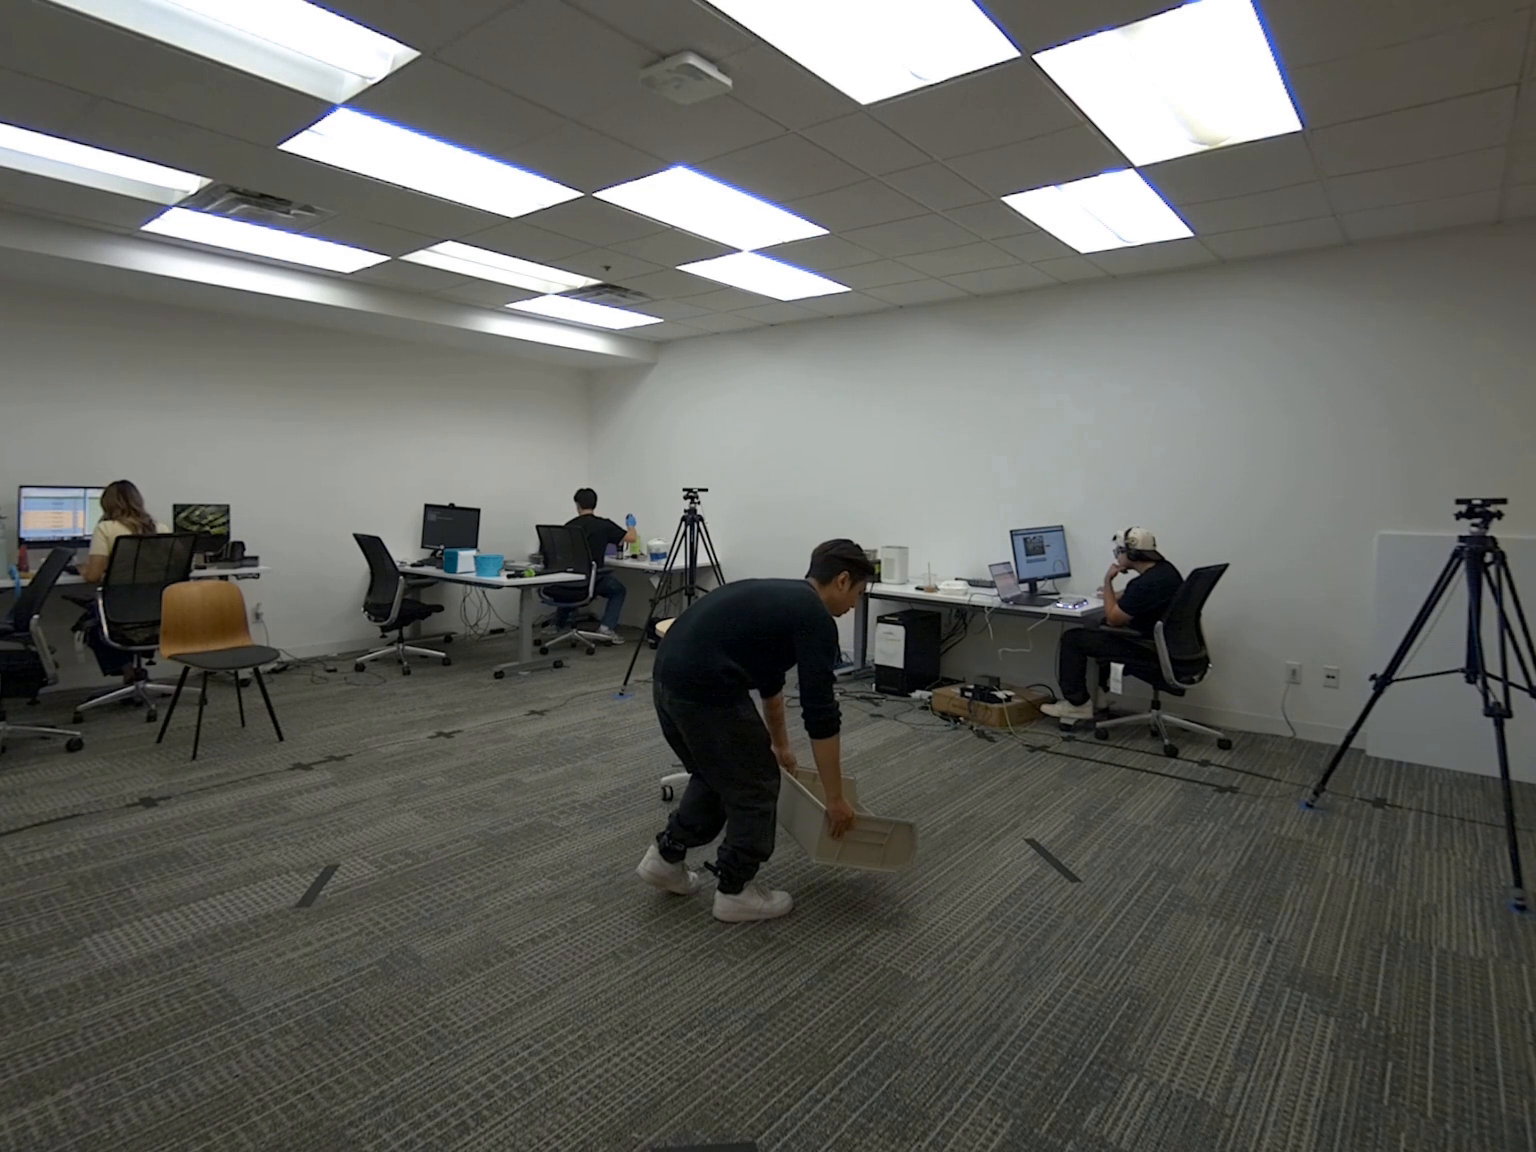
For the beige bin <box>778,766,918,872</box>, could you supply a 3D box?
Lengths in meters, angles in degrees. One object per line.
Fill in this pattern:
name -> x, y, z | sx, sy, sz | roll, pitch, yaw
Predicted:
beige bin -> 0.238, 0.830, 2.908 | 0.368, 0.188, 0.434 | 13, 5, -22
